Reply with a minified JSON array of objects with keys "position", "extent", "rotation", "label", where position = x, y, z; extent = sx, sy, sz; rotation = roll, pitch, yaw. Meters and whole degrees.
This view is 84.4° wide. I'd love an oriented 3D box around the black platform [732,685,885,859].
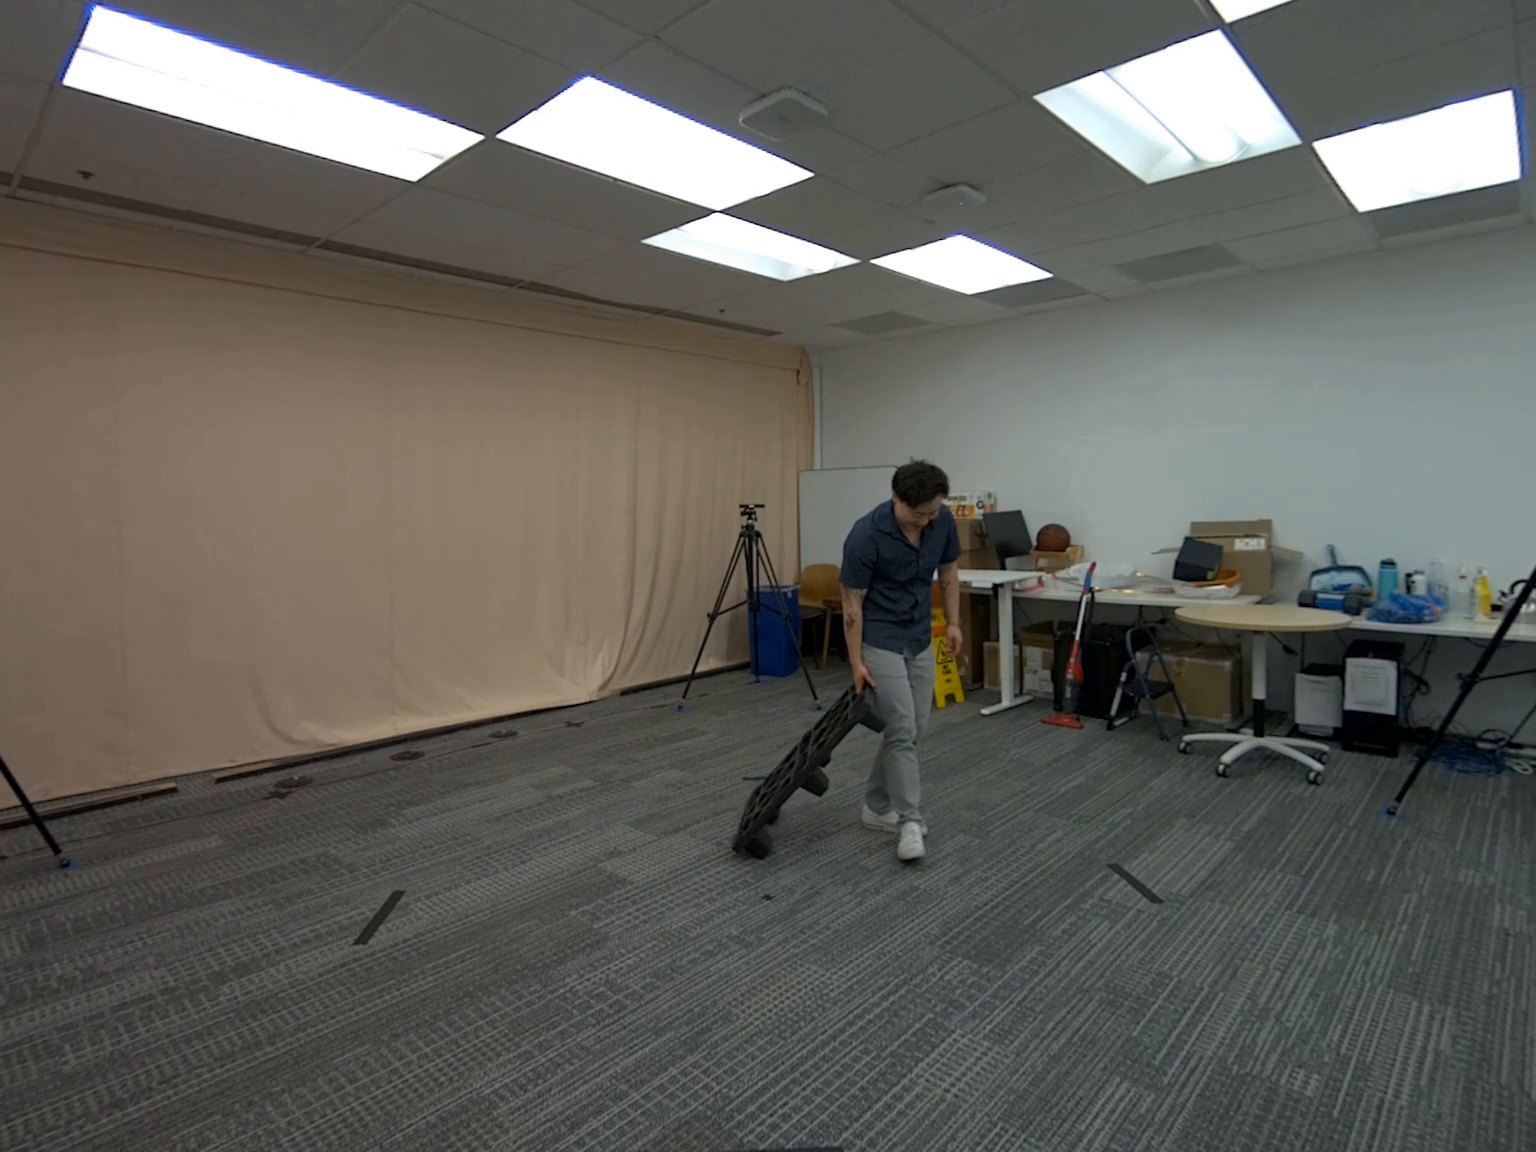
[{"position":[0.185,0.777,3.491],"extent":[0.144,0.807,0.602],"rotation":[41,7,1],"label":"black platform"}]
